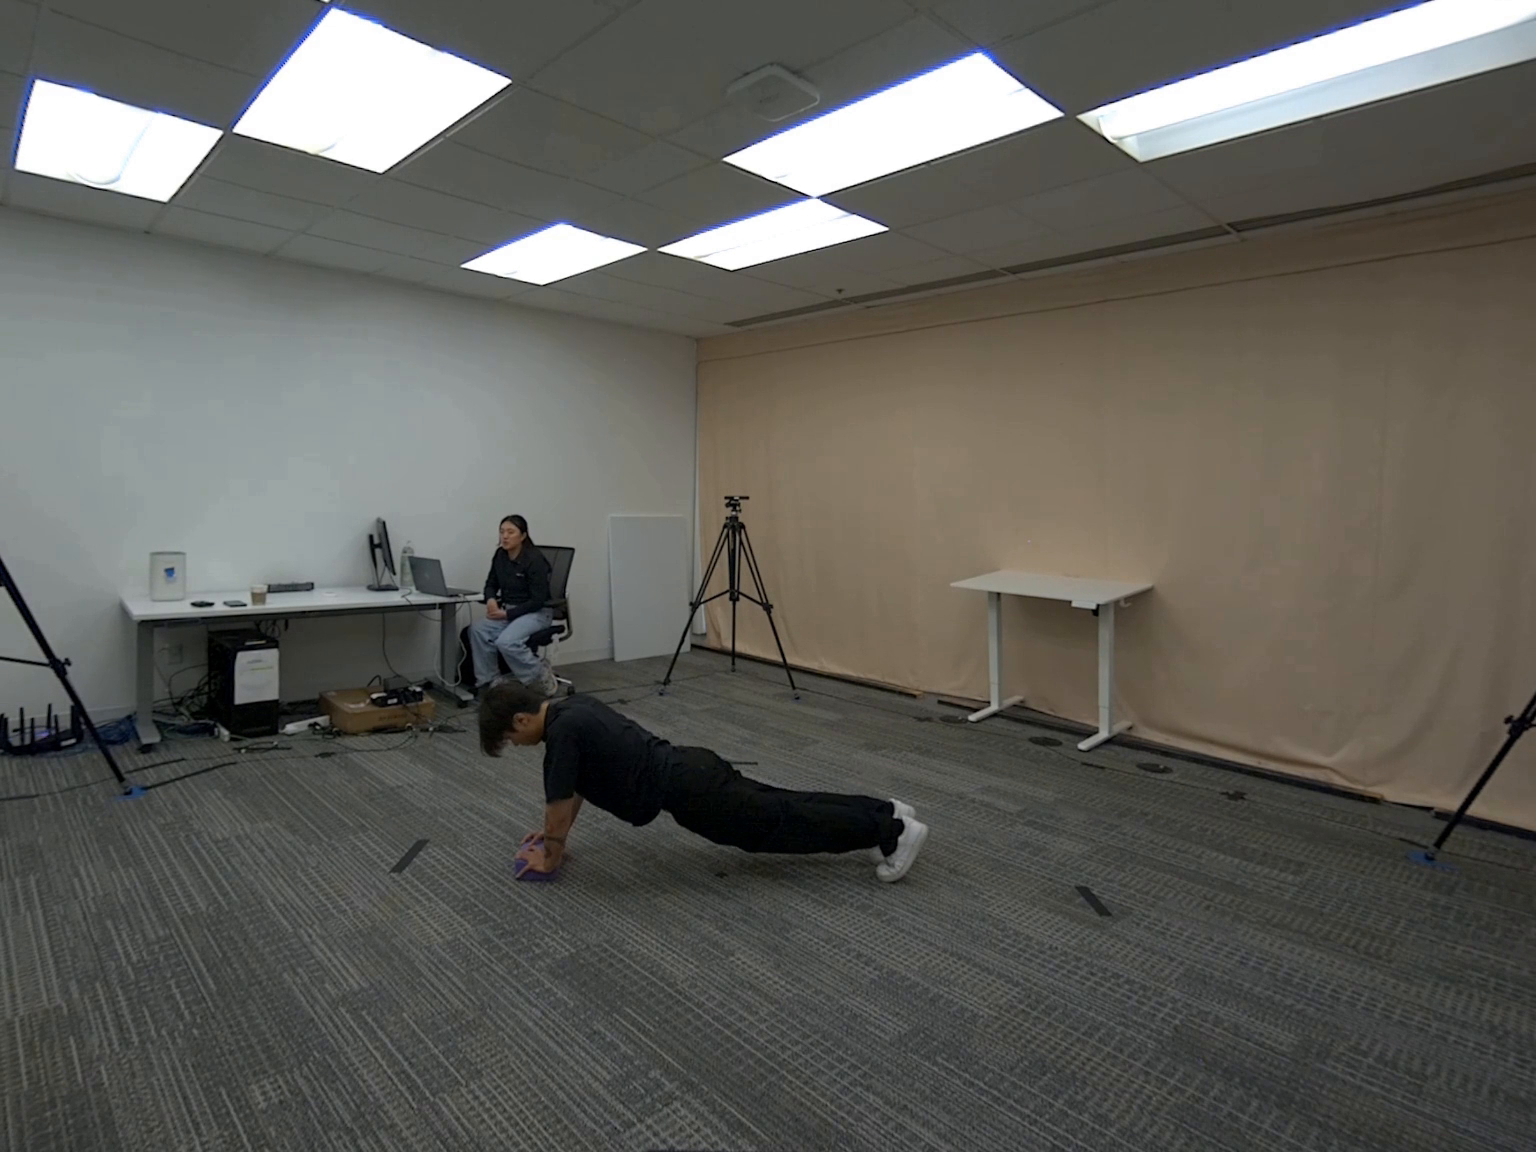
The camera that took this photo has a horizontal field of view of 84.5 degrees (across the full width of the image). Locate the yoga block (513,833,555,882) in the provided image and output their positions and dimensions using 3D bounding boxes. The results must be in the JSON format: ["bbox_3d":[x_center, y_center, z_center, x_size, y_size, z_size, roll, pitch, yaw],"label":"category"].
[{"bbox_3d":[-0.848,1.042,3.137,0.148,0.076,0.231,0,6,-6],"label":"yoga block"}]
